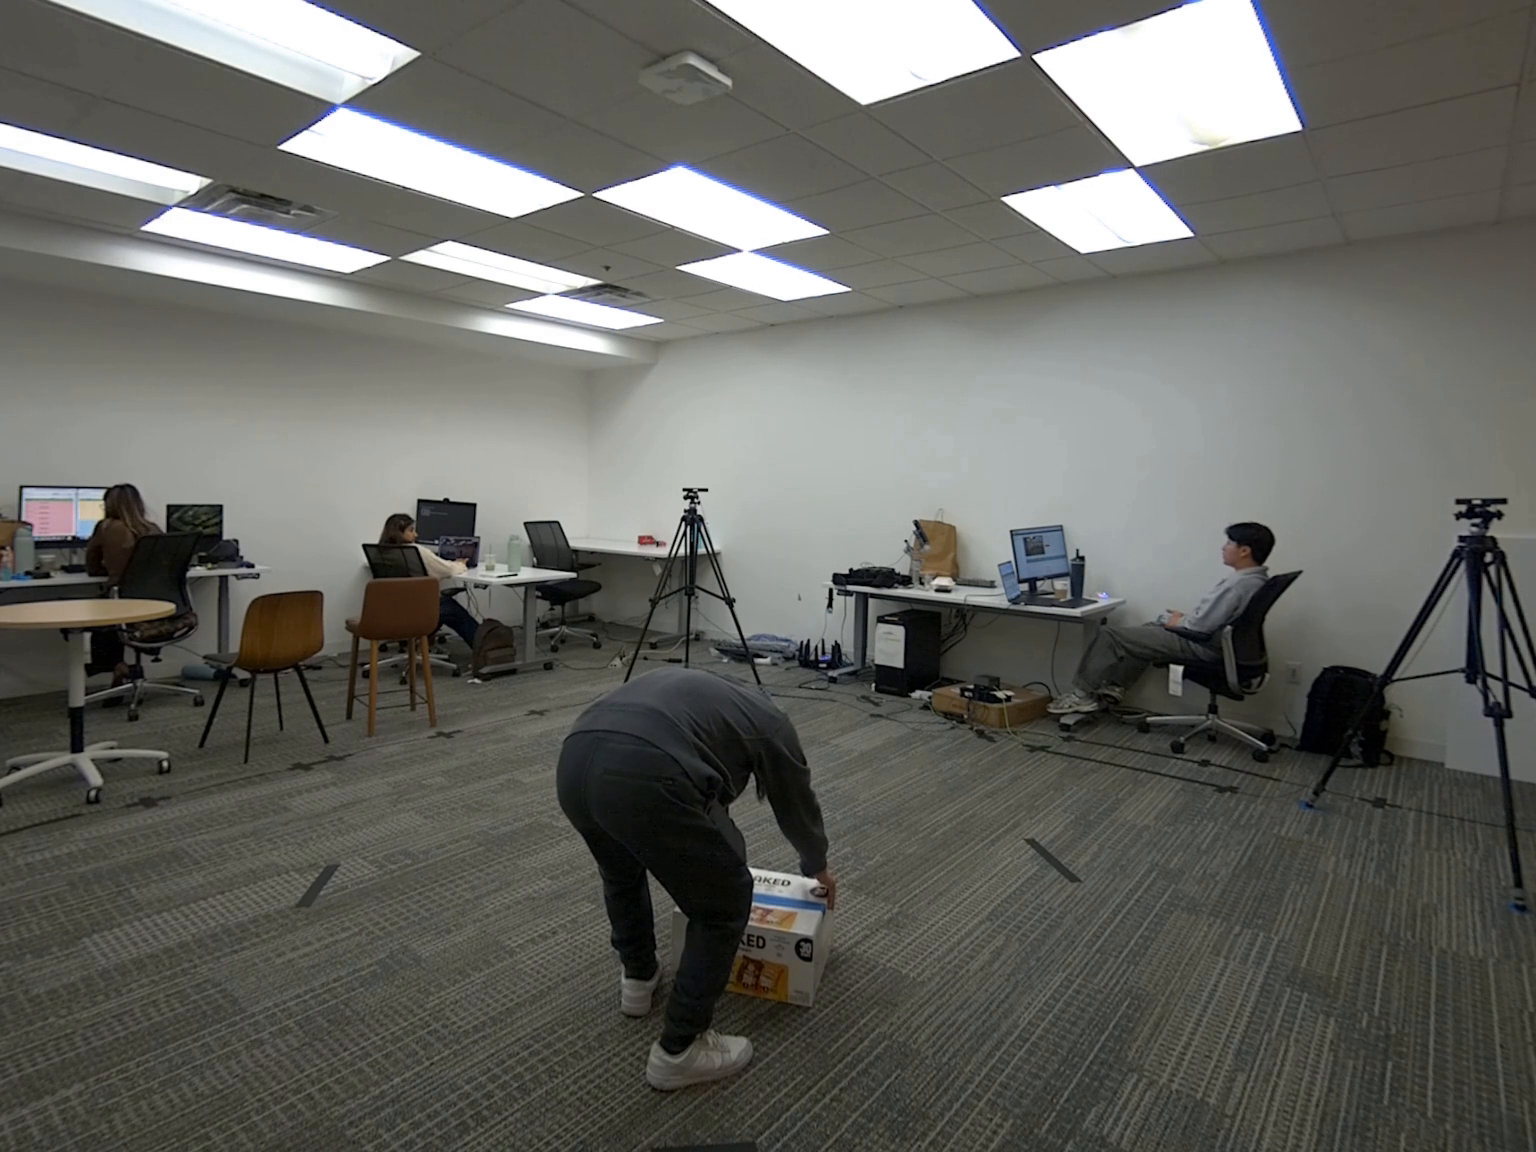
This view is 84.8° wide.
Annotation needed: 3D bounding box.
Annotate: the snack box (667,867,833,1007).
[{"bbox_3d":[-0.041,1.035,2.494,0.413,0.205,0.335,3,5,16],"label":"snack box"}]
